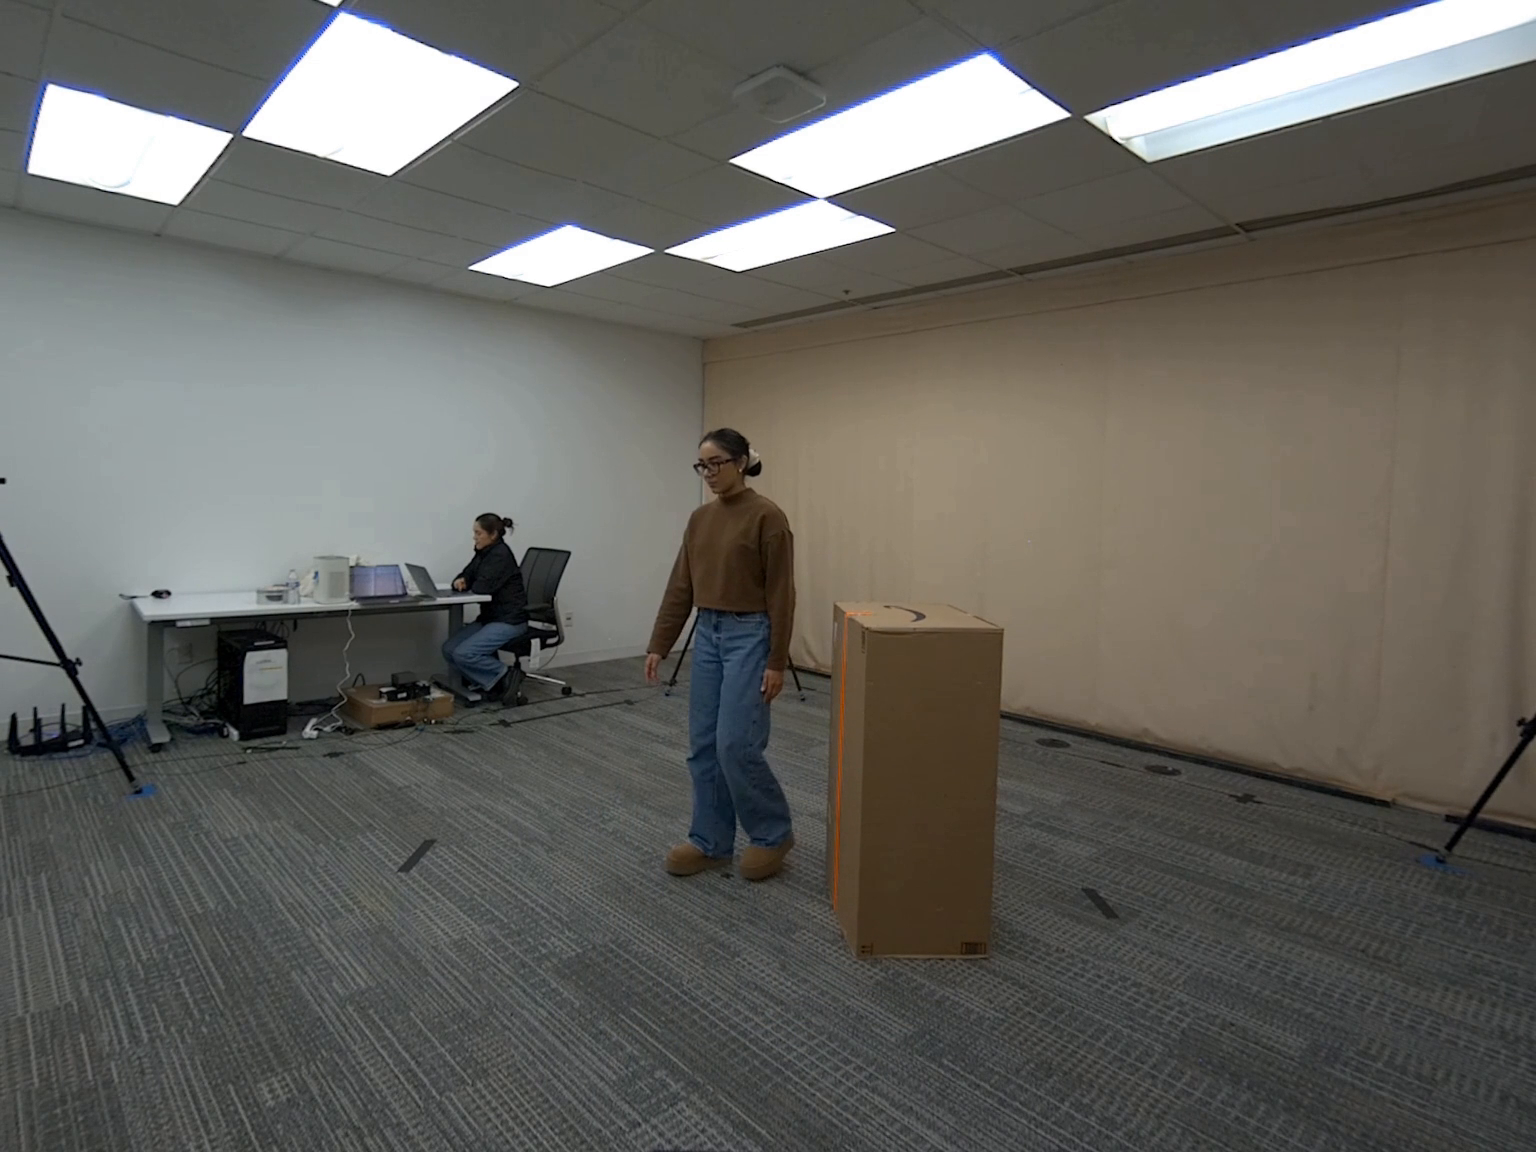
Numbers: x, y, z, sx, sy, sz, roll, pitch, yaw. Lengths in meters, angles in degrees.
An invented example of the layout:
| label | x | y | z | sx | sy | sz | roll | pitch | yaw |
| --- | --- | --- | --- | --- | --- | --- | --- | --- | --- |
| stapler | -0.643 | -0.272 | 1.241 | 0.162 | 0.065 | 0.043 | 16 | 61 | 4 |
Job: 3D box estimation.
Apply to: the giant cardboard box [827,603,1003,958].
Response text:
| label | x | y | z | sx | sy | sz | roll | pitch | yaw |
| --- | --- | --- | --- | --- | --- | --- | --- | --- | --- |
| giant cardboard box | 0.460 | 0.636 | 2.812 | 0.425 | 1.023 | 0.580 | 1 | 3 | -4 |
